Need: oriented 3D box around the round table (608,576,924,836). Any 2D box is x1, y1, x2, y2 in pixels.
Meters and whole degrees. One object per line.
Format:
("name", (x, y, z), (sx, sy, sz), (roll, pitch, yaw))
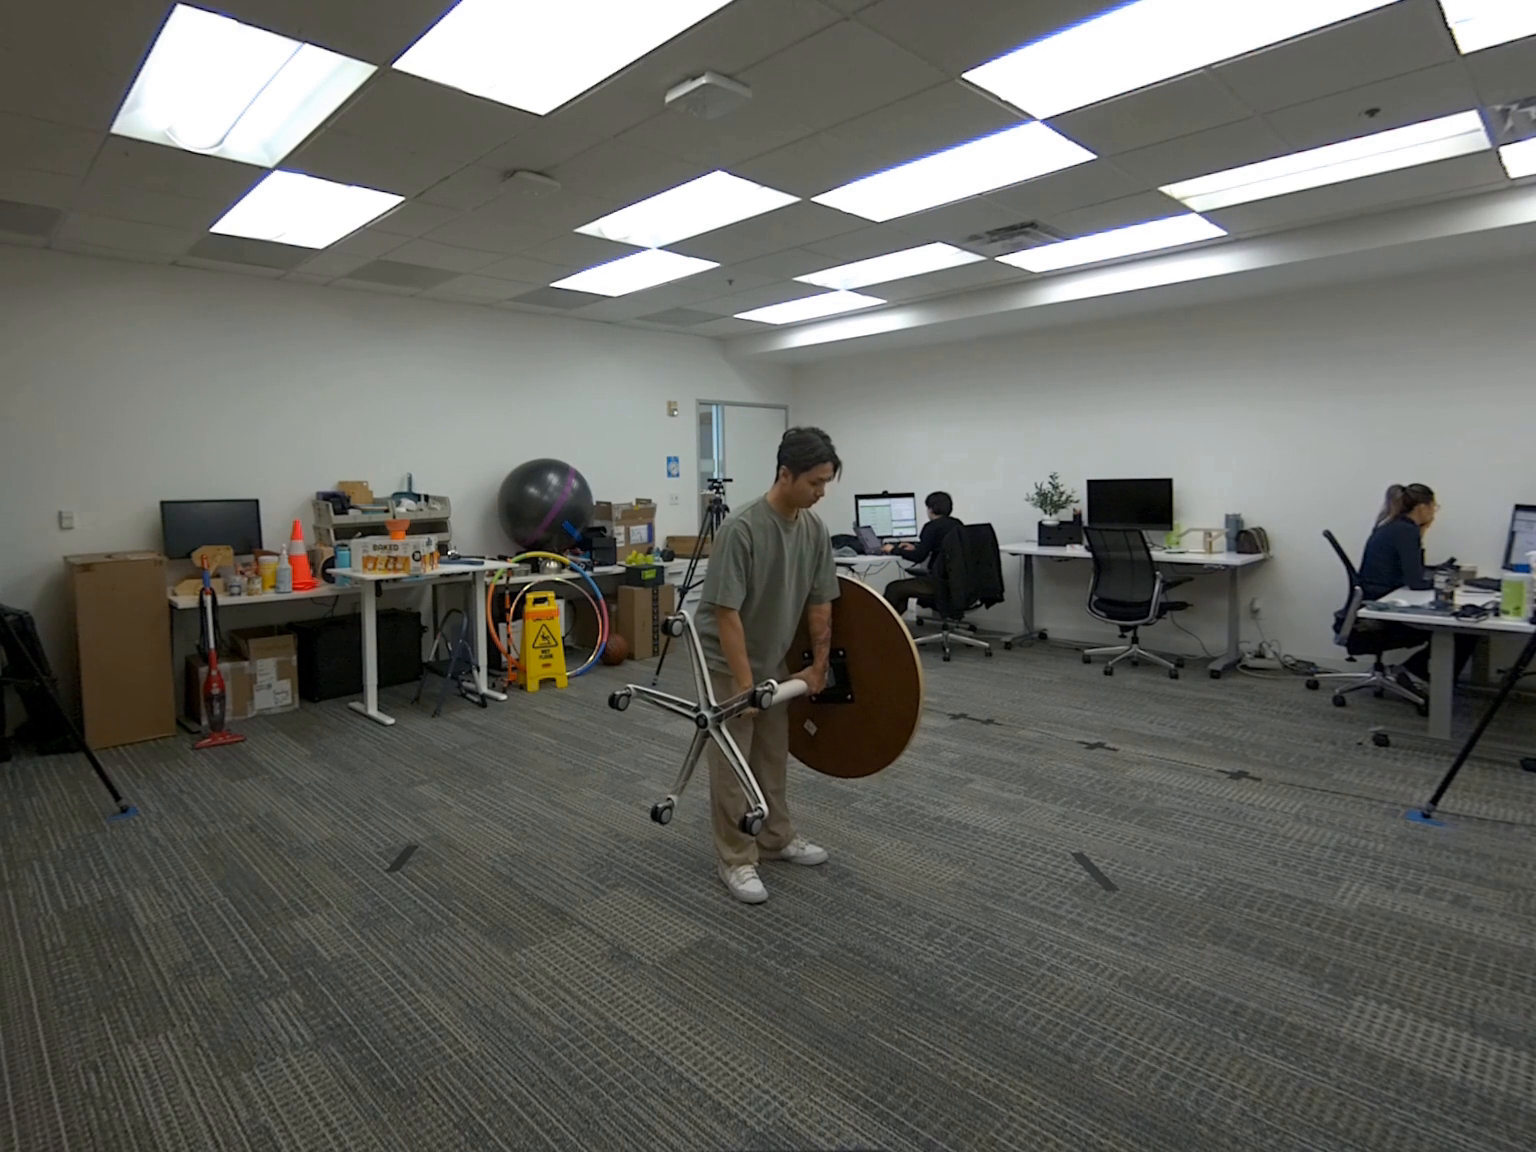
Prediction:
("round table", (-0.004, 0.424, 2.895), (0.809, 0.780, 0.768), (3, 9, 40))
